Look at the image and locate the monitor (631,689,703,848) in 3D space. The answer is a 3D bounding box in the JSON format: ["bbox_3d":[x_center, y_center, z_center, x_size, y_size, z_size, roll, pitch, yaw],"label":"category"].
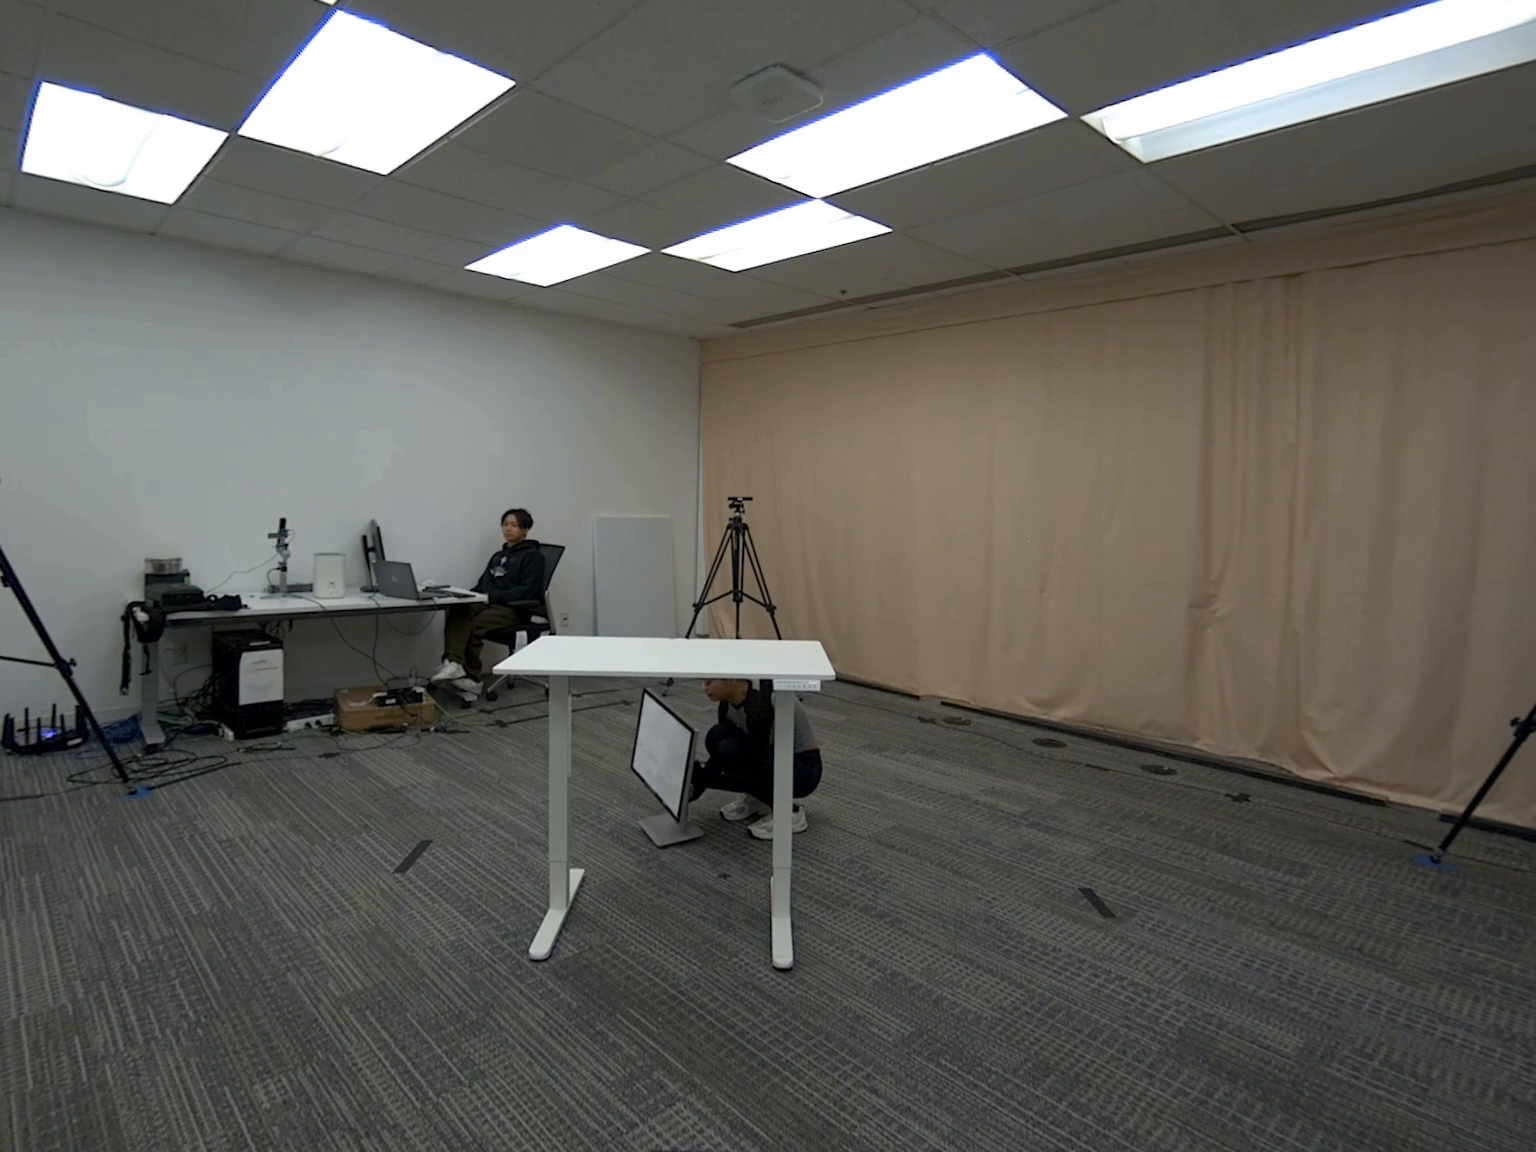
[{"bbox_3d":[-0.408,0.783,3.437,0.184,0.519,0.552,-6,10,-29],"label":"monitor"}]
